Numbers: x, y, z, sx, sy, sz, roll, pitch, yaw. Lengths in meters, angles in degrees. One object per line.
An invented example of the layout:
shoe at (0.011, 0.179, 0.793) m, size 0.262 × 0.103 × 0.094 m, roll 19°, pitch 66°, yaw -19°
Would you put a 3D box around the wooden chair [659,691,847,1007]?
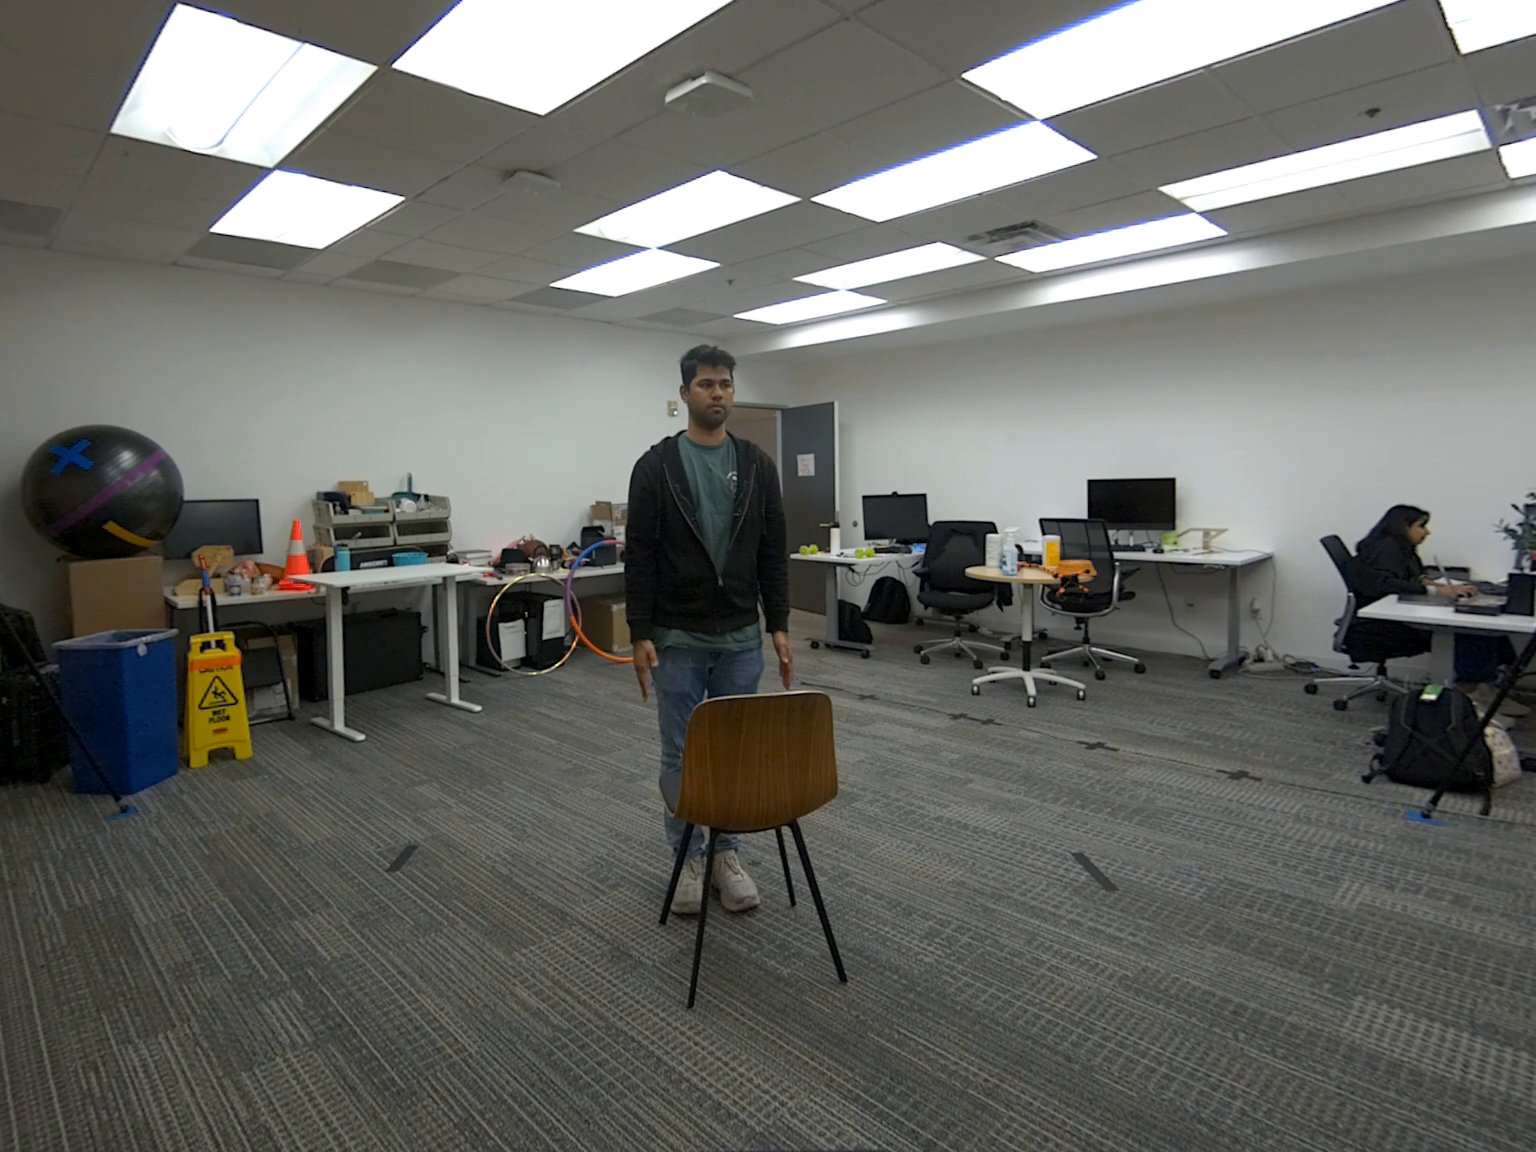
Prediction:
wooden chair at (-0.066, 0.685, 2.507) m, size 0.472 × 0.870 × 0.534 m, roll -3°, pitch 9°, yaw -15°
